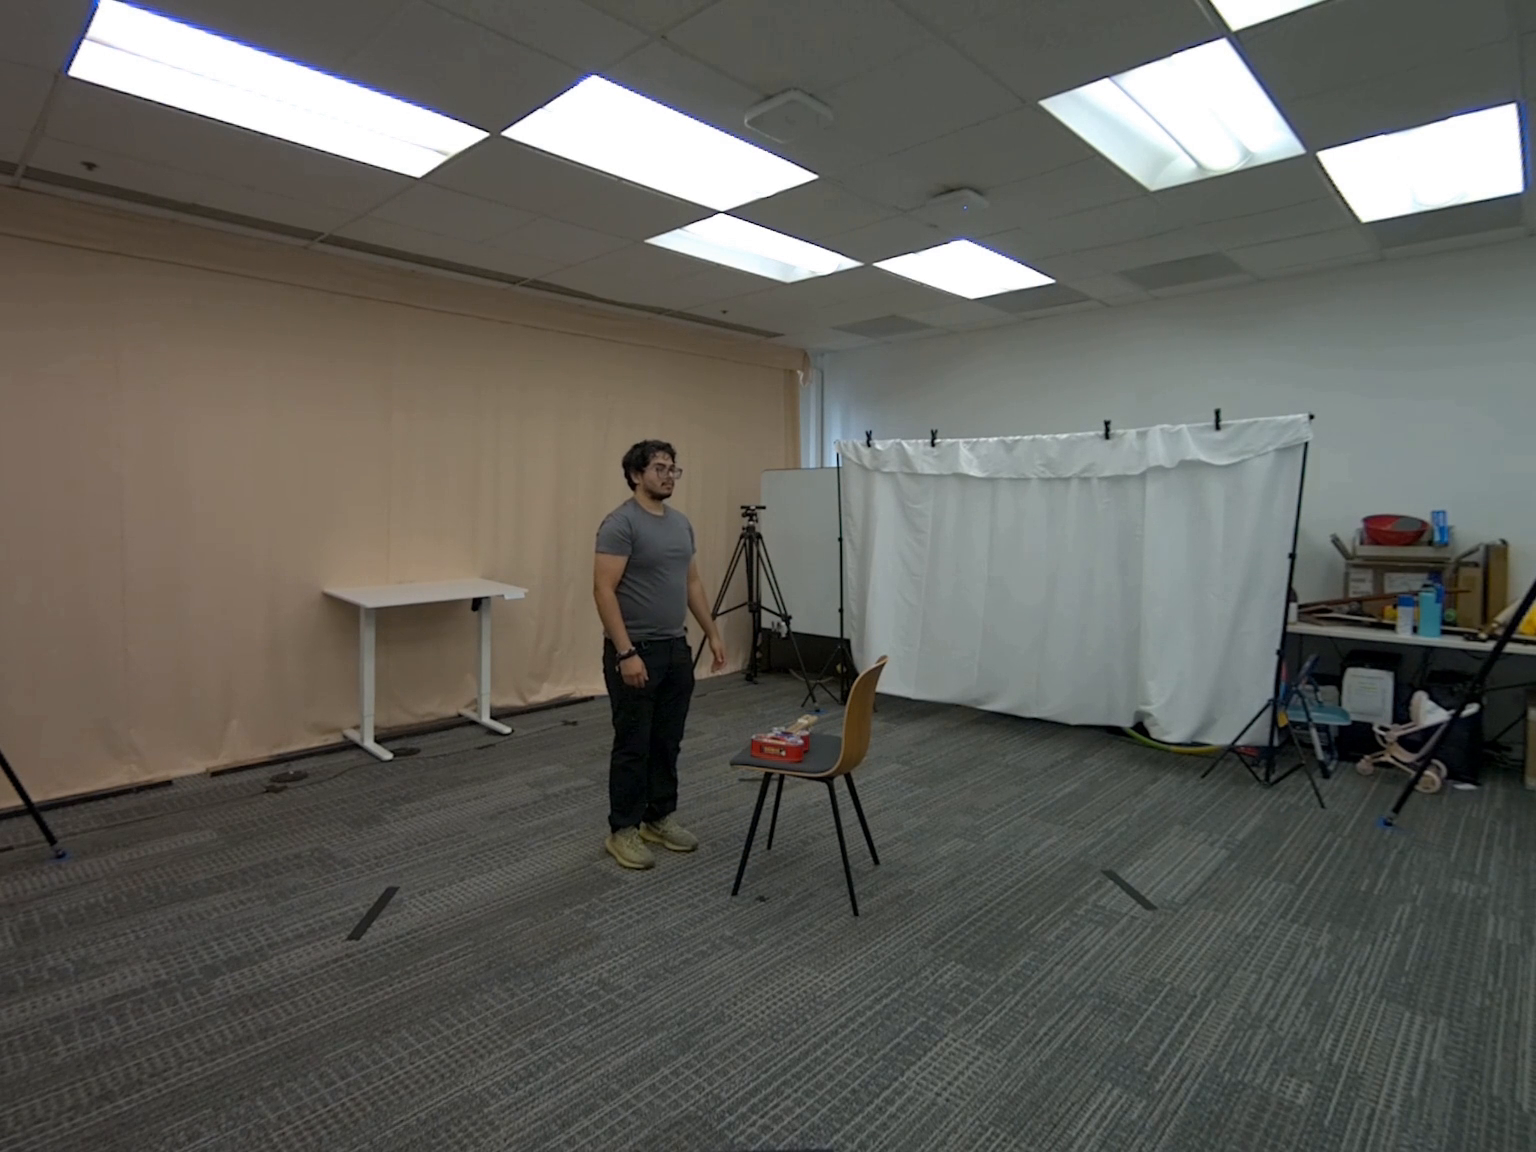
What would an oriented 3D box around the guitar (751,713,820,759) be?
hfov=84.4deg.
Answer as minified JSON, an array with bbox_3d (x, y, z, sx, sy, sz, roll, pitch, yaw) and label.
[{"bbox_3d":[0.128,0.613,3.189,0.199,0.070,0.484,4,5,29],"label":"guitar"}]
